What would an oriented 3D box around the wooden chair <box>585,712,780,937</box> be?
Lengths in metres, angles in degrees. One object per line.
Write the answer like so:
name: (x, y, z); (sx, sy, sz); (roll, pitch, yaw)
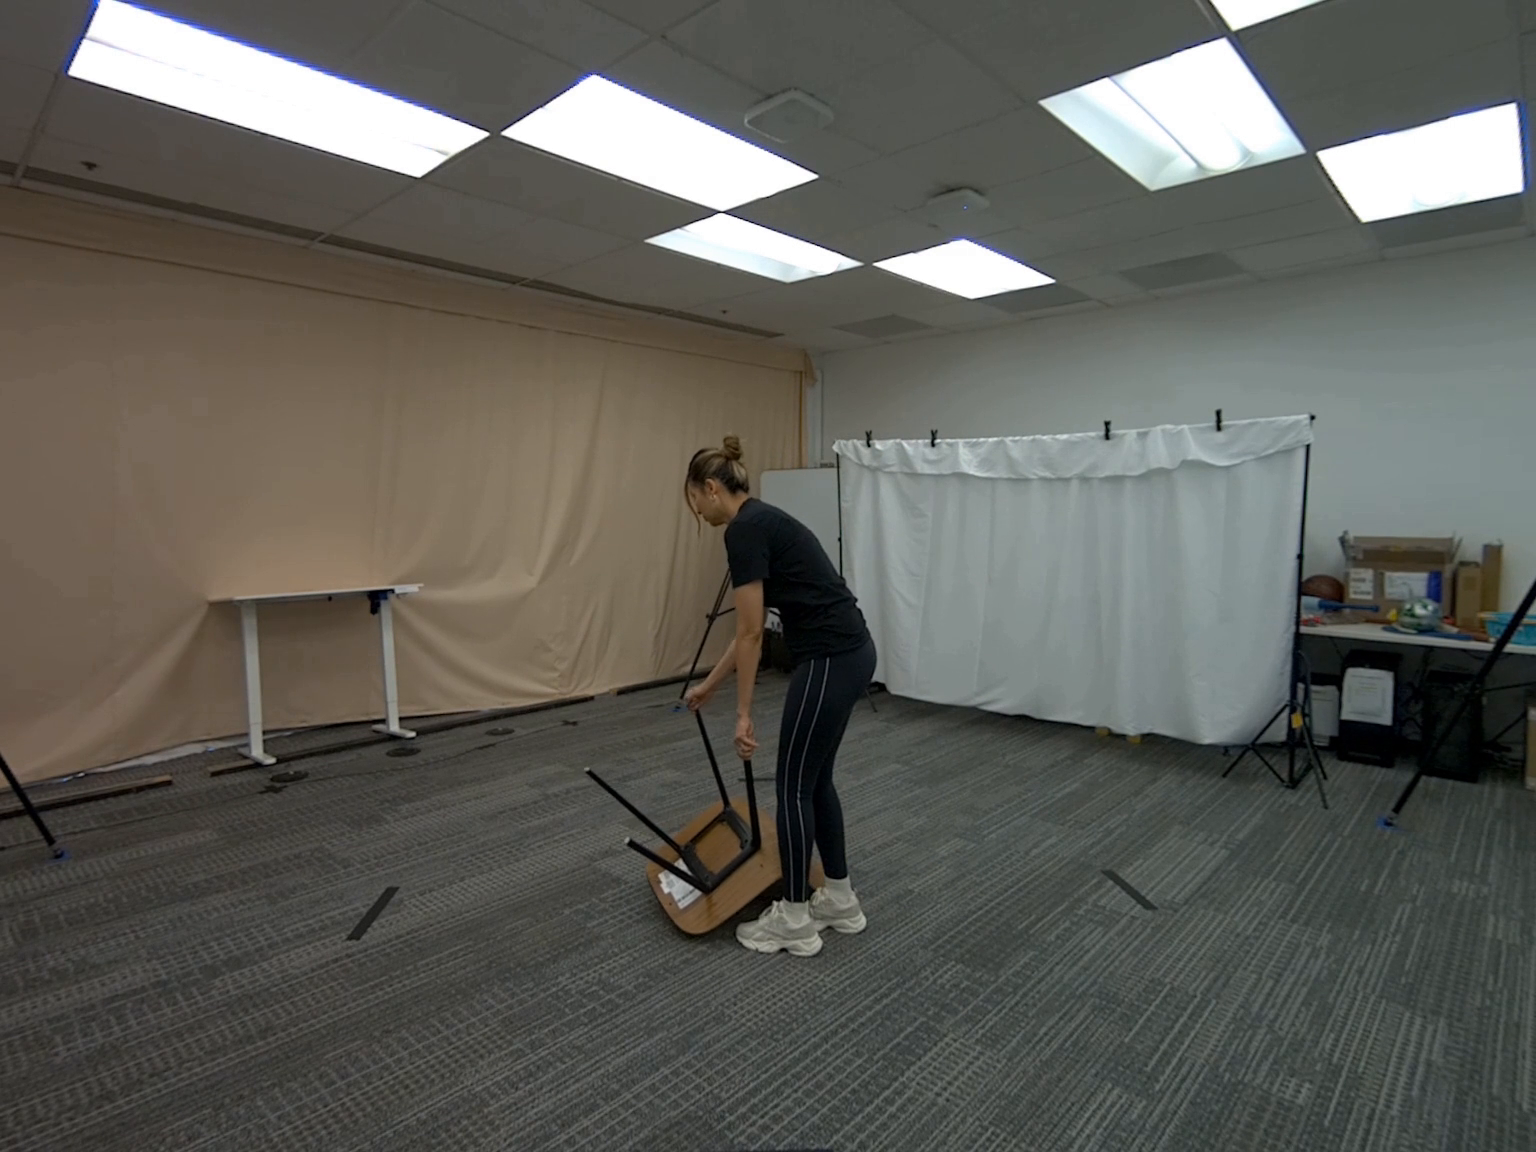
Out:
wooden chair: (-0.174, 0.930, 2.885); (0.520, 0.854, 0.493); (-39, 27, -11)
